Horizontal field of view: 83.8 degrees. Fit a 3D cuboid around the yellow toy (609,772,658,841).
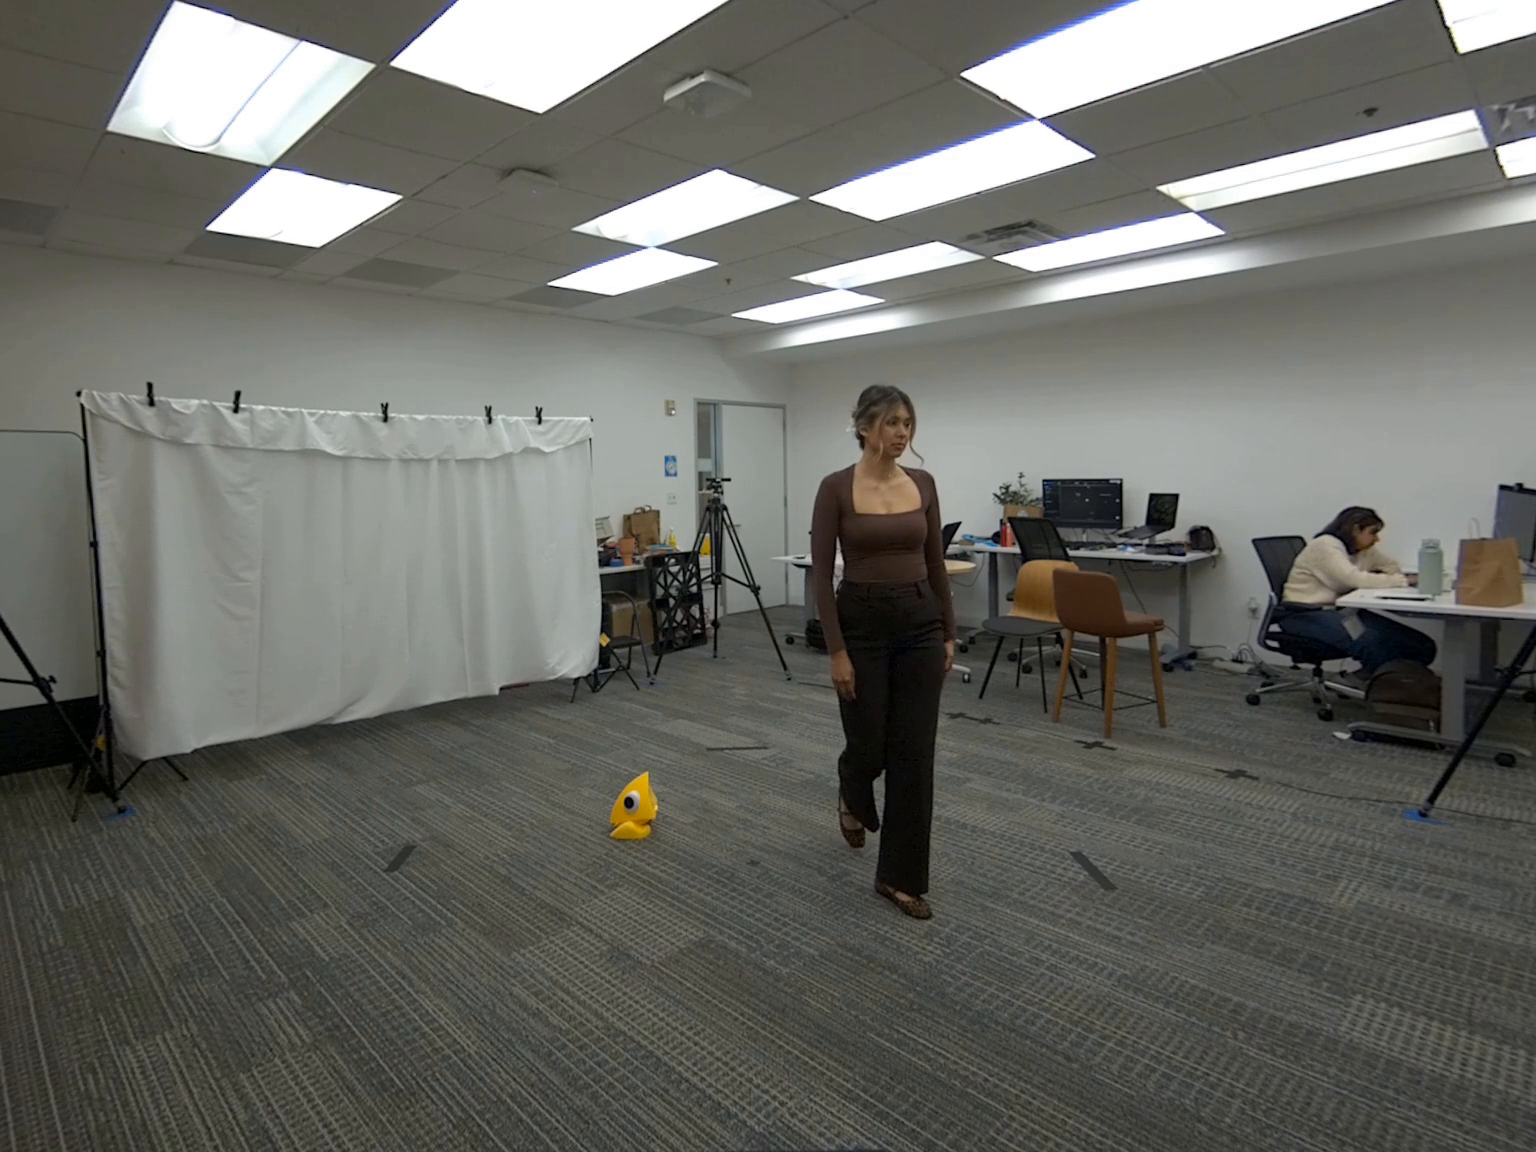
[{"bbox_3d":[-0.540,0.902,3.424,0.192,0.230,0.206,-1,4,-4],"label":"yellow toy"}]
